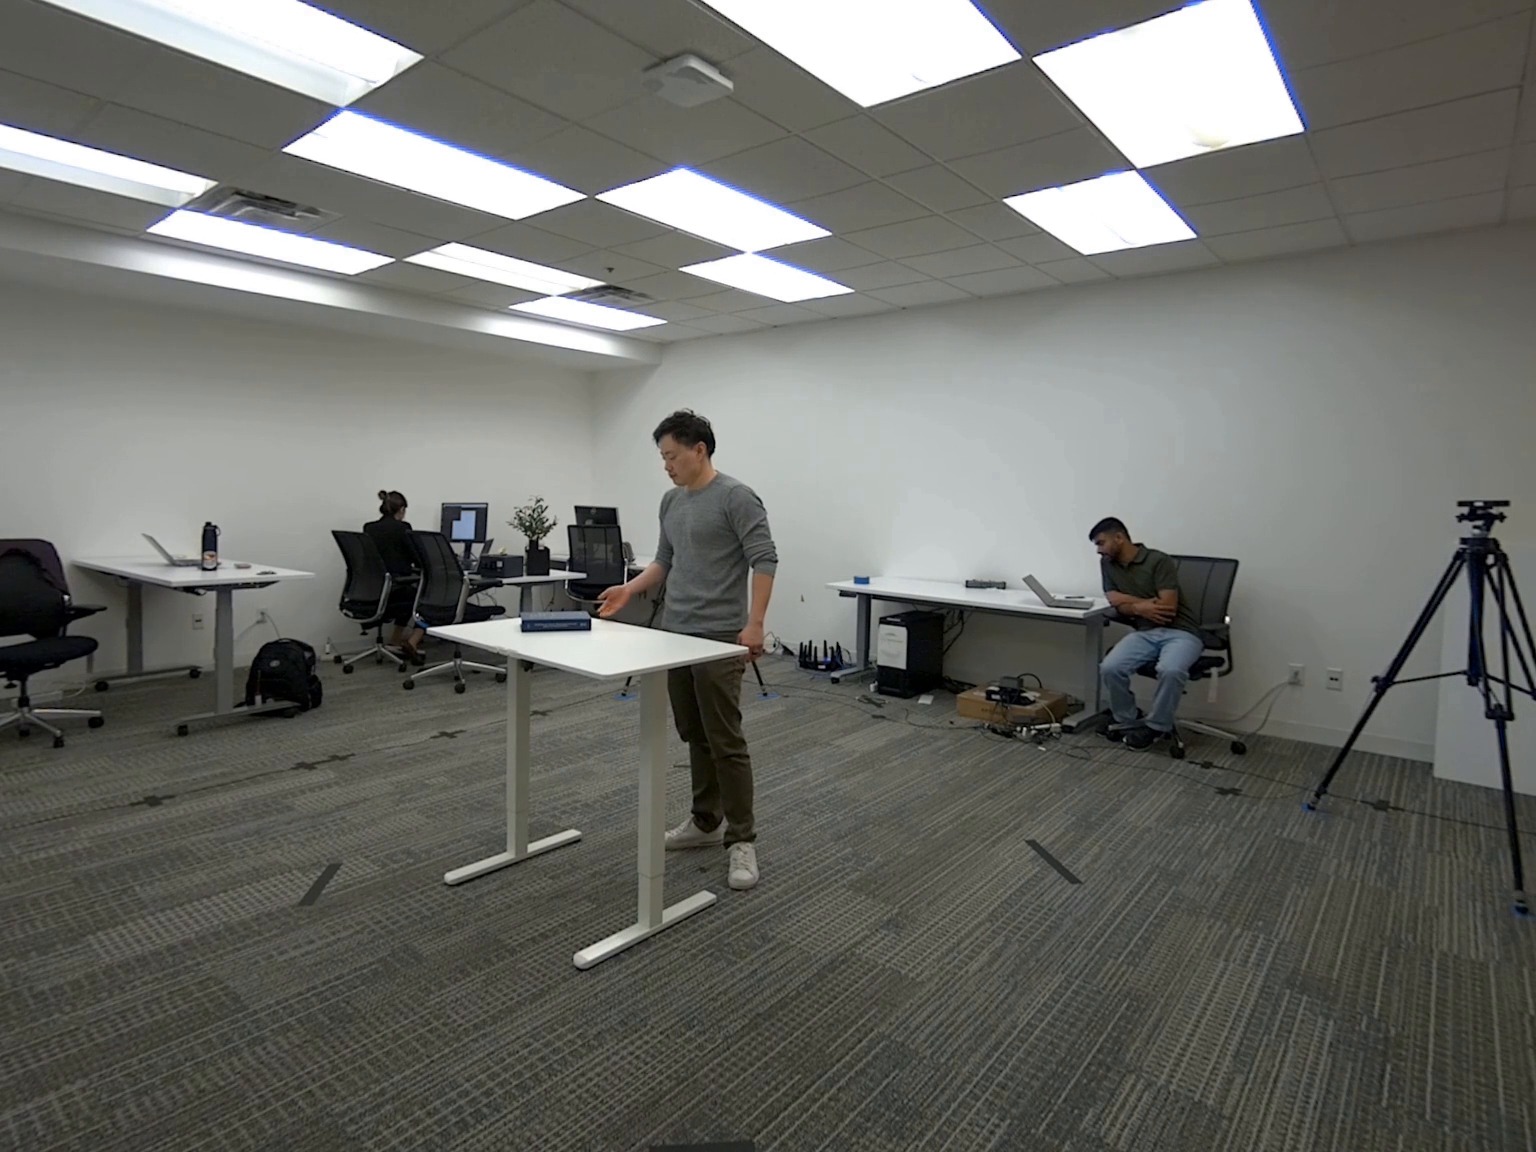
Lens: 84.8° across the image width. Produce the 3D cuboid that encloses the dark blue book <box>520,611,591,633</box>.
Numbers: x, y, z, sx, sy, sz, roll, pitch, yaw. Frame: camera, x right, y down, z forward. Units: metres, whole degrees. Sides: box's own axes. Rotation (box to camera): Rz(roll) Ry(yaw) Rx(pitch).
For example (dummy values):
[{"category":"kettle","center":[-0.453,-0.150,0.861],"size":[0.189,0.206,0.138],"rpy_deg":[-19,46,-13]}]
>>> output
[{"category":"dark blue book","center":[-0.781,0.167,3.054],"size":[0.242,0.045,0.166],"rpy_deg":[-2,7,-13]}]
